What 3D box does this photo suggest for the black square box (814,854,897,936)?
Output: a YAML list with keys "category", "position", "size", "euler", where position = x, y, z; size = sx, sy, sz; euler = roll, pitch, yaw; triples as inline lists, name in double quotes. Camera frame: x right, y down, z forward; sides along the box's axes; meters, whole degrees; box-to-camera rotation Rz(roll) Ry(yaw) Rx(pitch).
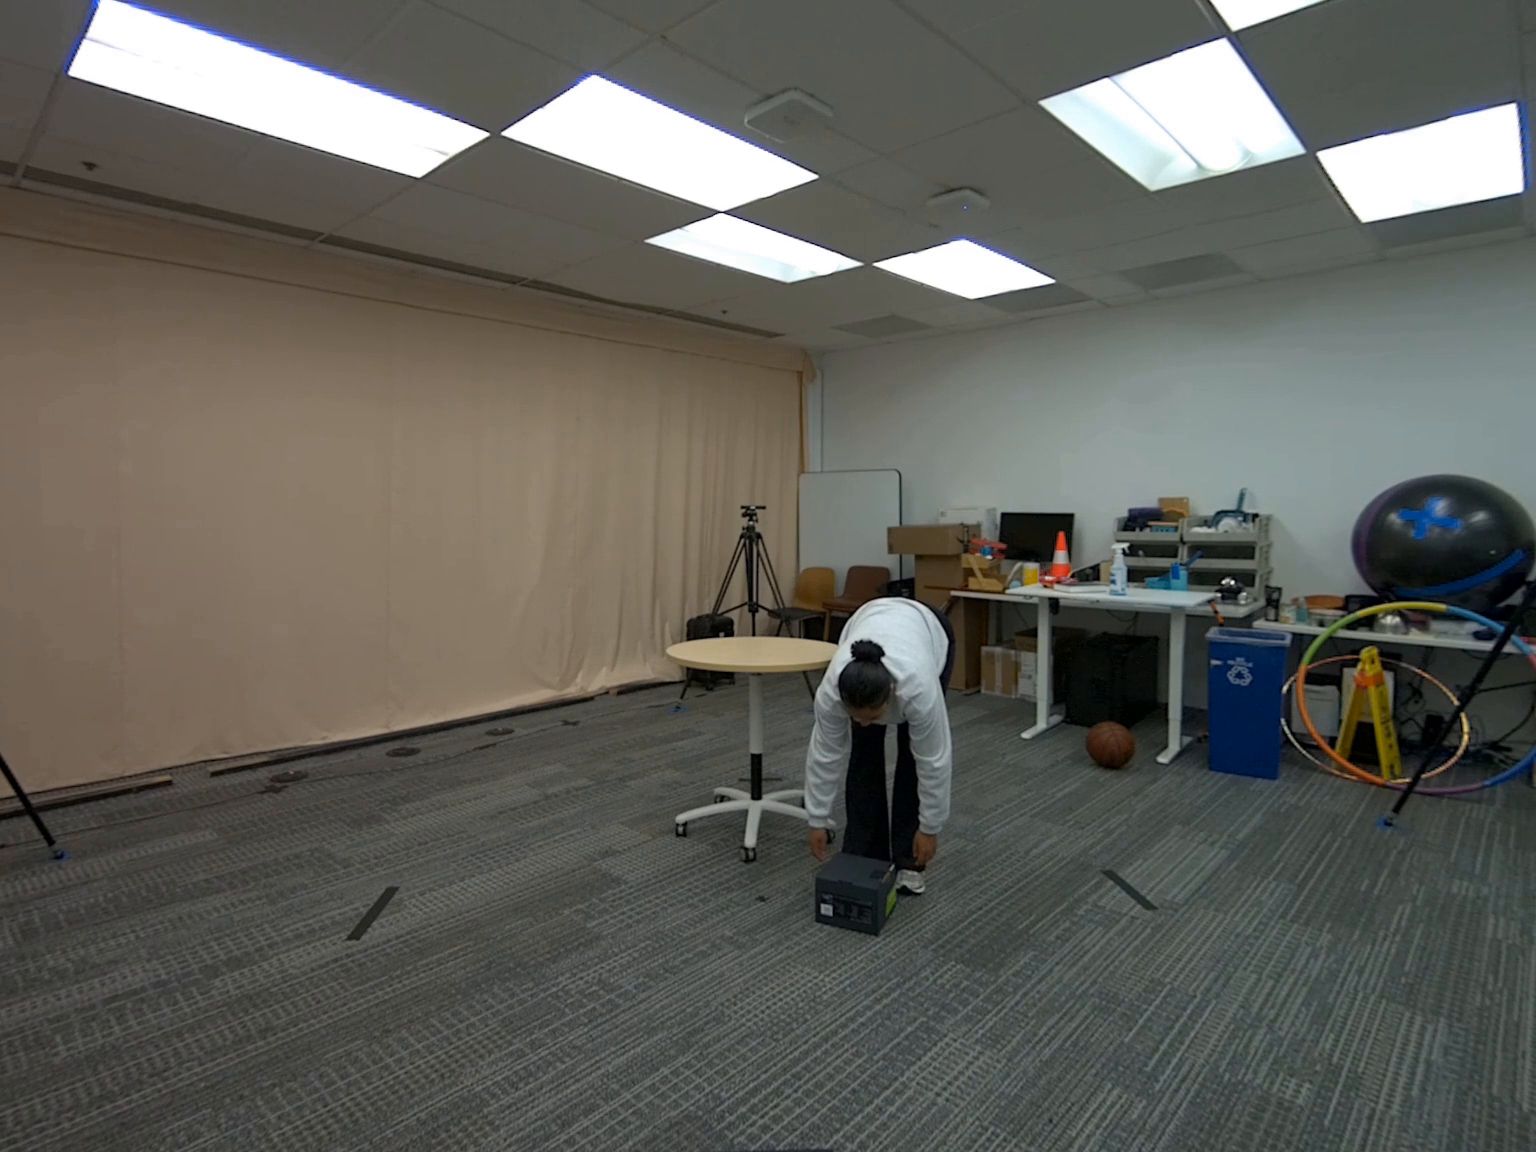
- category: "black square box"
  position: [0.302, 1.065, 2.864]
  size: [0.223, 0.155, 0.222]
  euler: [2, 5, 26]
